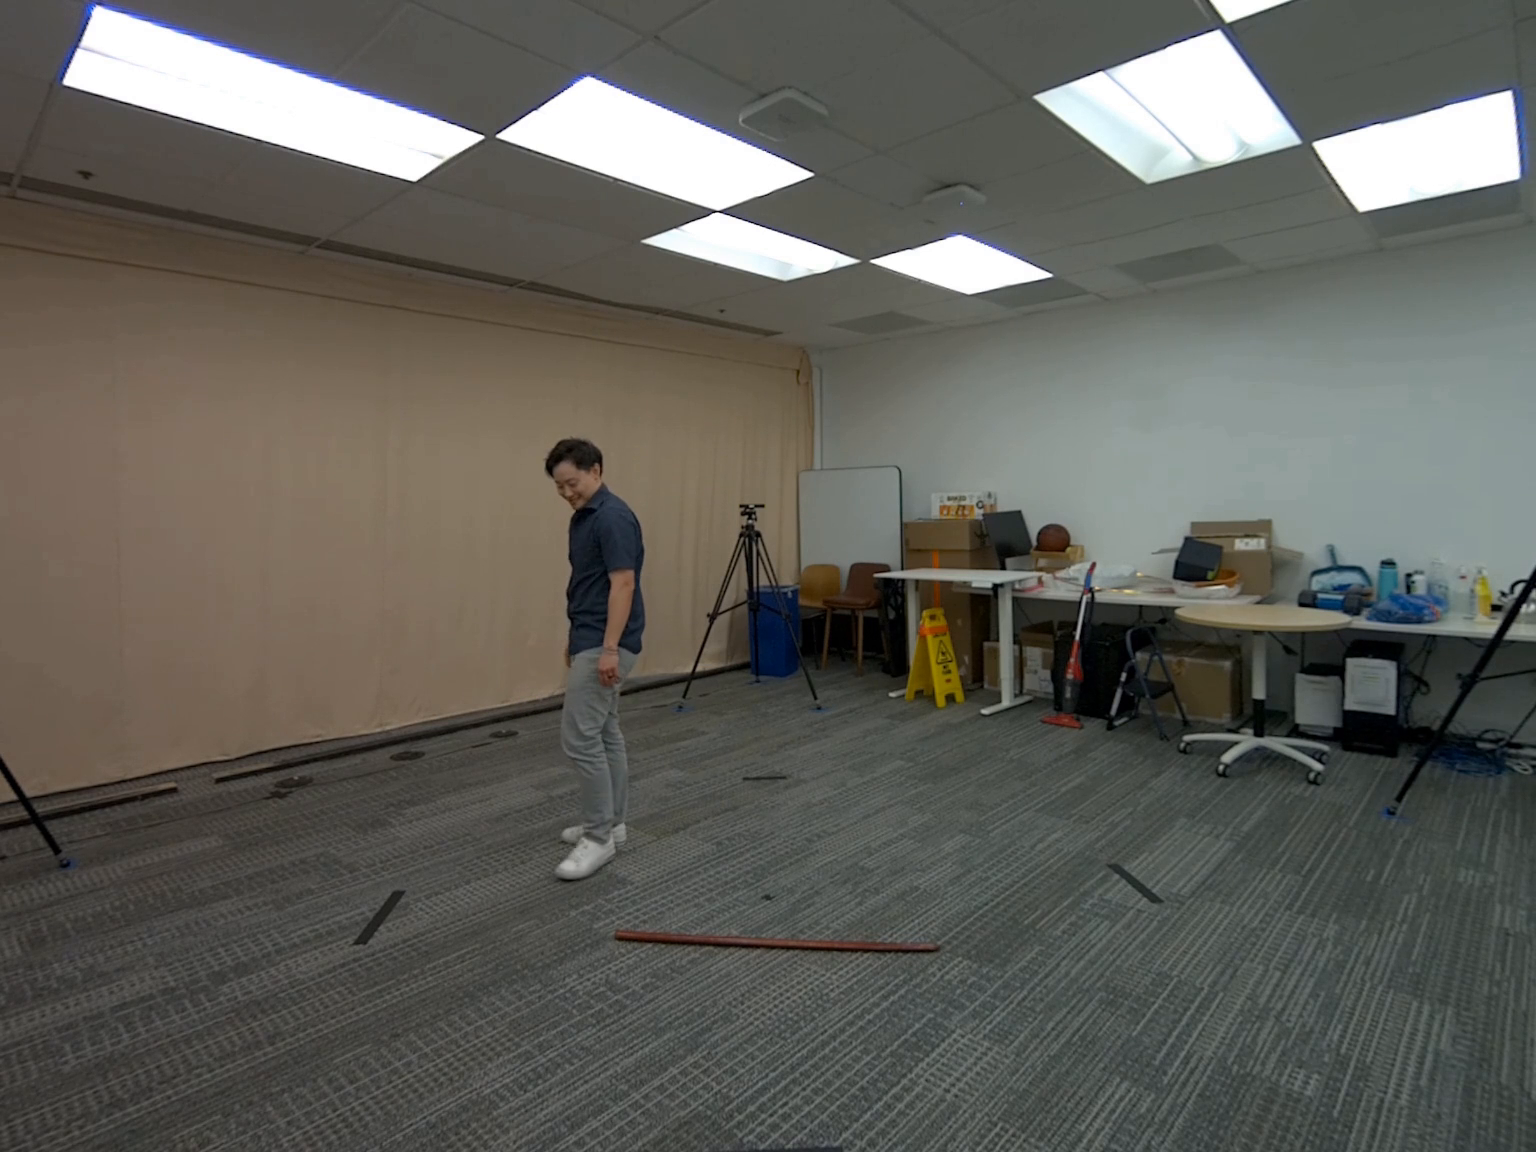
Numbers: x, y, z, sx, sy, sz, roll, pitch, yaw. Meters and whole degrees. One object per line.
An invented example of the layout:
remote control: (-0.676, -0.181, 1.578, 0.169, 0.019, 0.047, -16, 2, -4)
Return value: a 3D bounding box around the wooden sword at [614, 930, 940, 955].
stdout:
wooden sword: (0.029, 1.148, 2.659, 1.031, 0.024, 0.051, 0, 4, 6)
